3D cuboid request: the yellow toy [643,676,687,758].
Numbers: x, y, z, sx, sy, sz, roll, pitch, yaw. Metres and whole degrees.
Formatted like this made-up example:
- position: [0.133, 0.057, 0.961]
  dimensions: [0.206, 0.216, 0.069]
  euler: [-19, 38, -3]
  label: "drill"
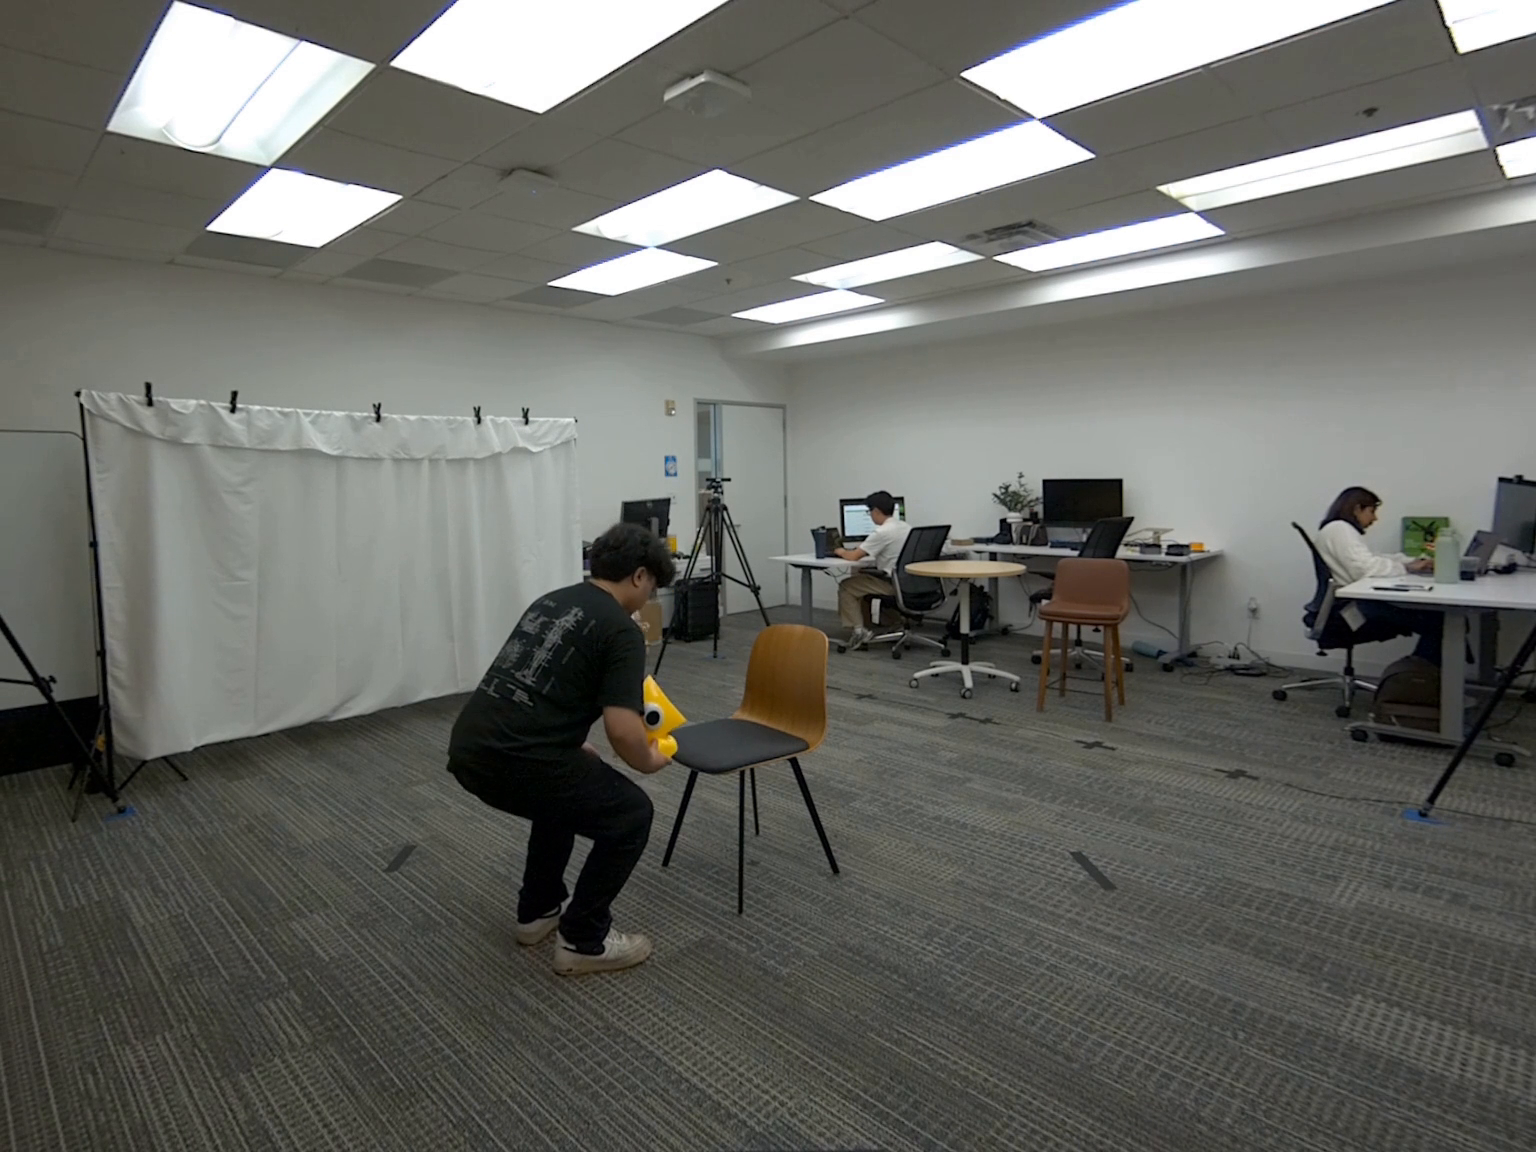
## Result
- position: [-0.391, 0.439, 2.688]
  dimensions: [0.211, 0.227, 0.190]
  euler: [6, 21, 39]
  label: "yellow toy"
